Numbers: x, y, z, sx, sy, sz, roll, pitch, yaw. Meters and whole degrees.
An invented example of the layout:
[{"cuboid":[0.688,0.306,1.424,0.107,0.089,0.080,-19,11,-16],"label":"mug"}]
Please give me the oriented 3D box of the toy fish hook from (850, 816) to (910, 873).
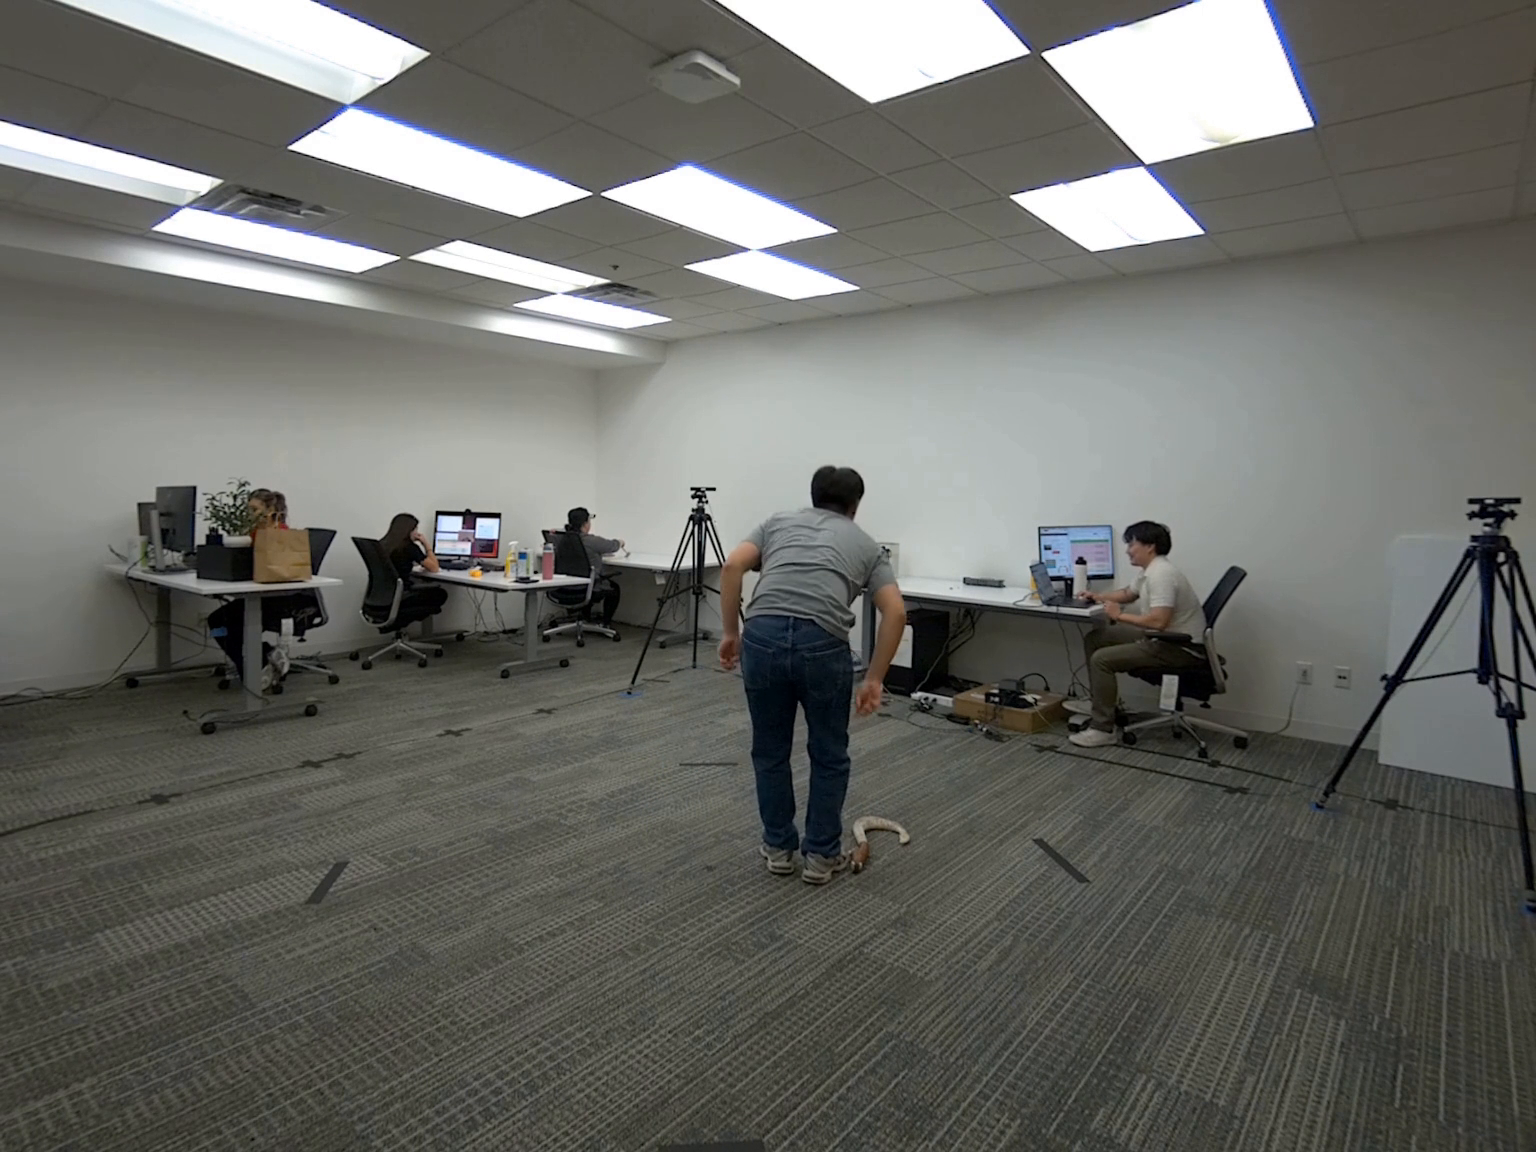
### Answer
[{"cuboid":[0.421,1.036,3.310,0.228,0.048,0.500,2,6,14],"label":"toy fish hook"}]
